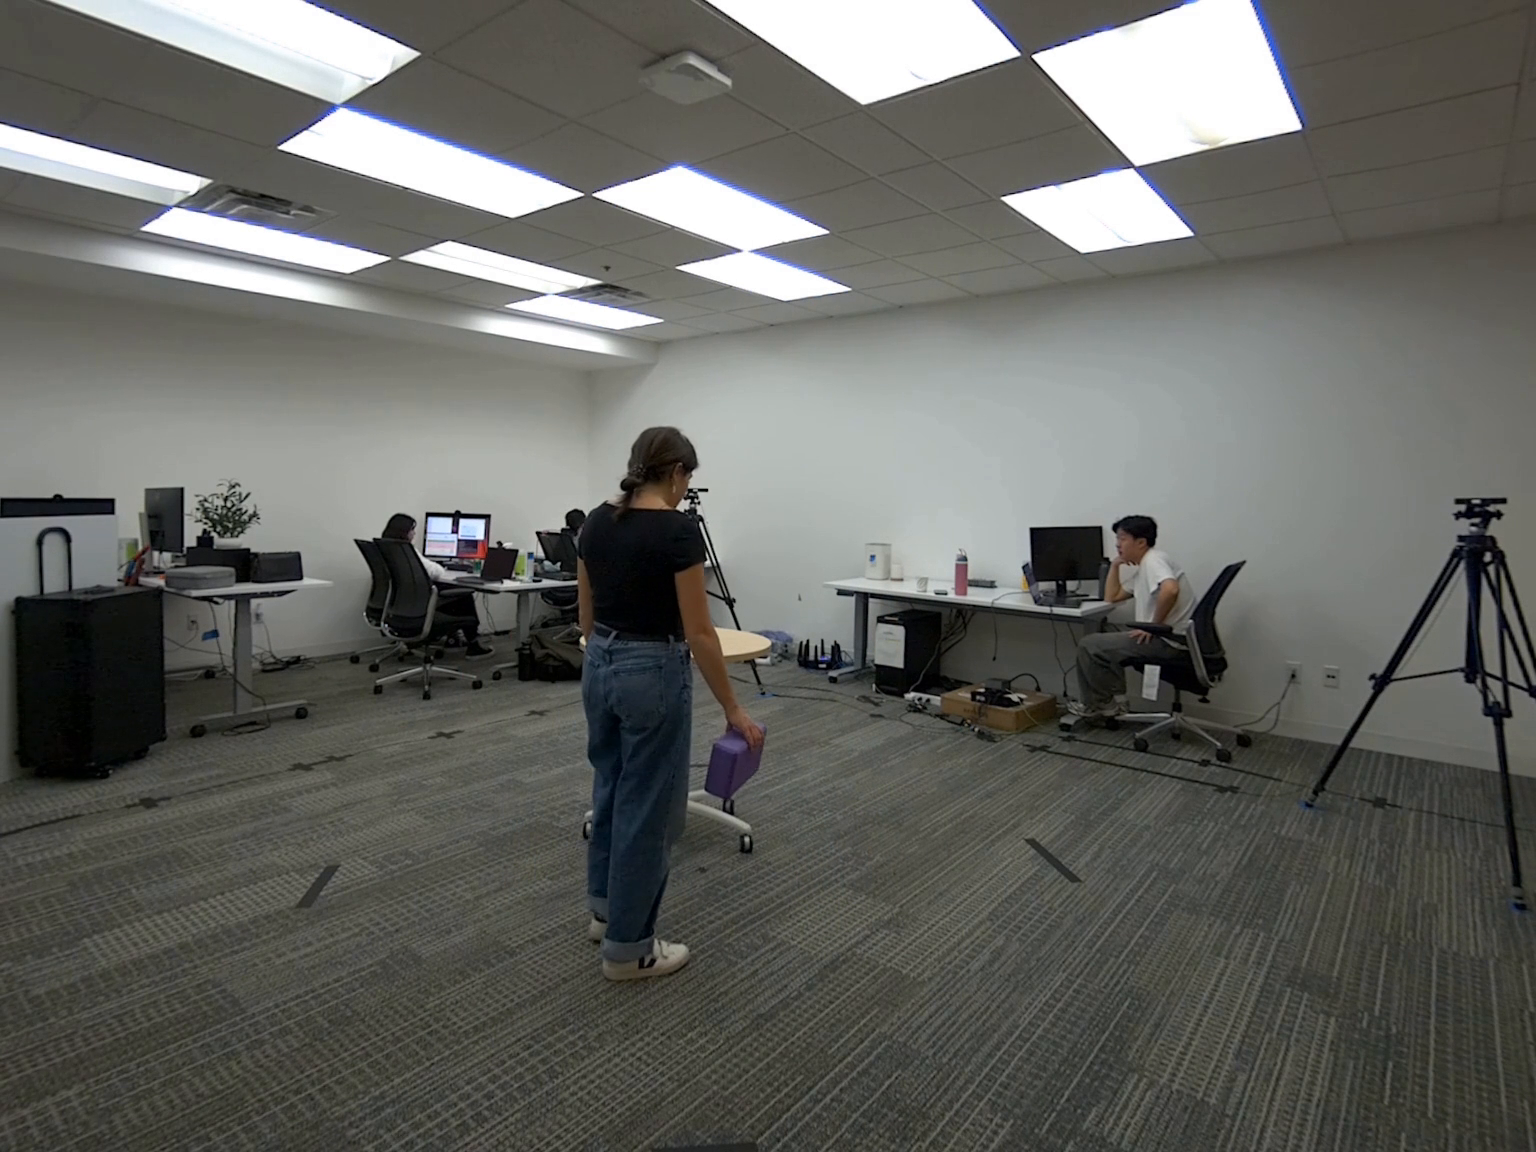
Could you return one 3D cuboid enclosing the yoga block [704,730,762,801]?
[{"bbox_3d":[-0.099,0.510,2.385,0.078,0.147,0.225,14,14,20],"label":"yoga block"}]
